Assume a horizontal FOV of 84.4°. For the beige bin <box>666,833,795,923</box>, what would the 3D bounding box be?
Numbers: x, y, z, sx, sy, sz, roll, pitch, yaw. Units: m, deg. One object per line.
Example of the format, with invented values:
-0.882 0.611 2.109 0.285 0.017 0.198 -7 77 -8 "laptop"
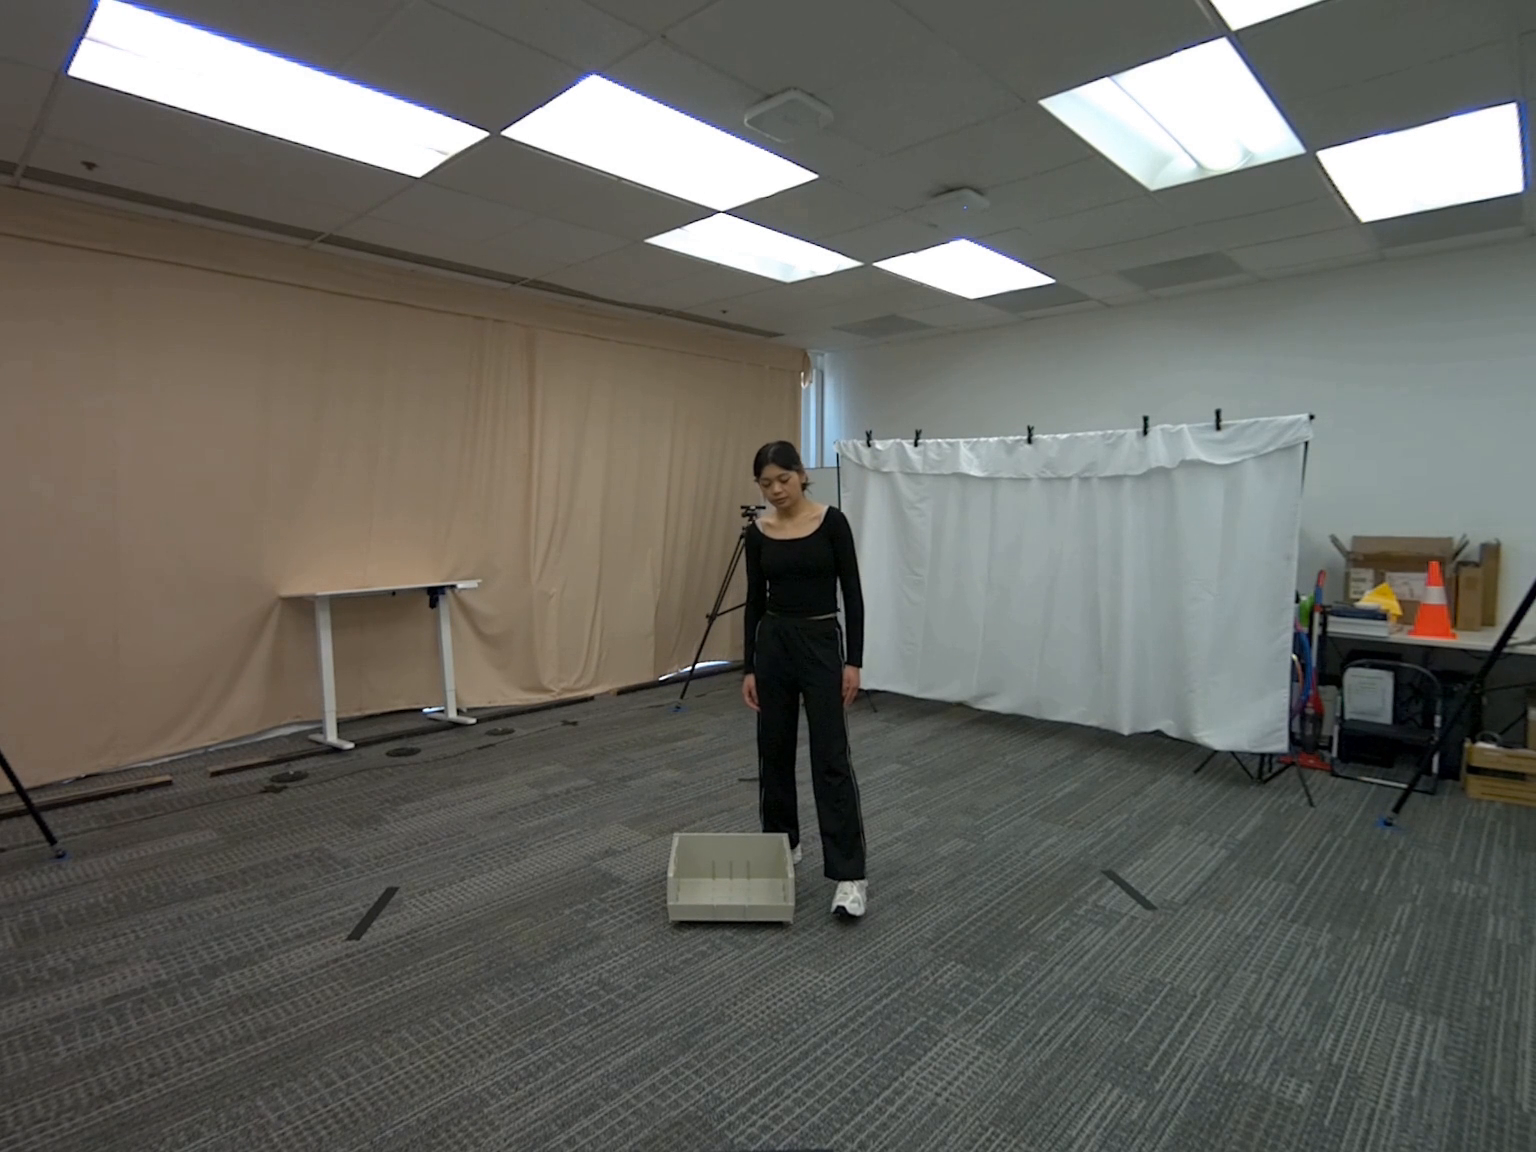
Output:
-0.127 1.062 2.934 0.422 0.188 0.378 -1 4 -1 "beige bin"
